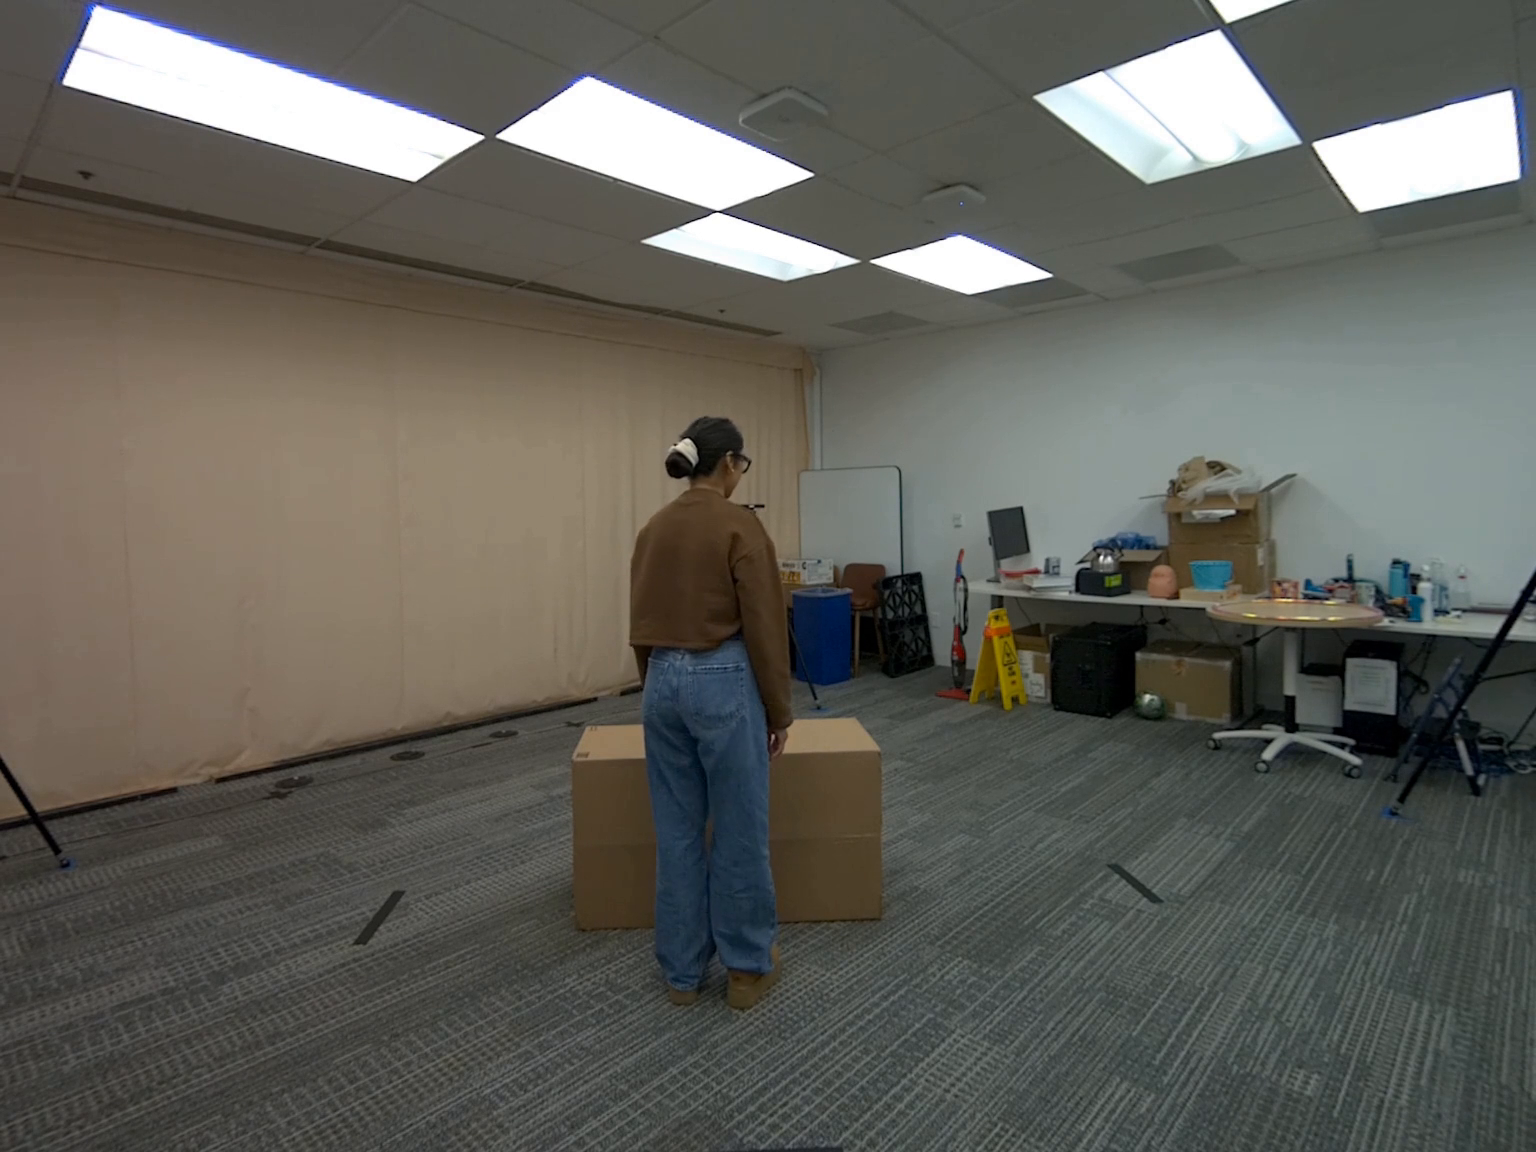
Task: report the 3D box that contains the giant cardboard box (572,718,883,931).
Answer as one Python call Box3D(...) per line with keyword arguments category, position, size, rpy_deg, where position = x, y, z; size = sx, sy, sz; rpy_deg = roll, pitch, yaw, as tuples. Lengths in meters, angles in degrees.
Box3D(category="giant cardboard box", position=(-0.150, 0.855, 2.989), size=(1.023, 0.576, 0.428), rpy_deg=(-1, 3, -3))
